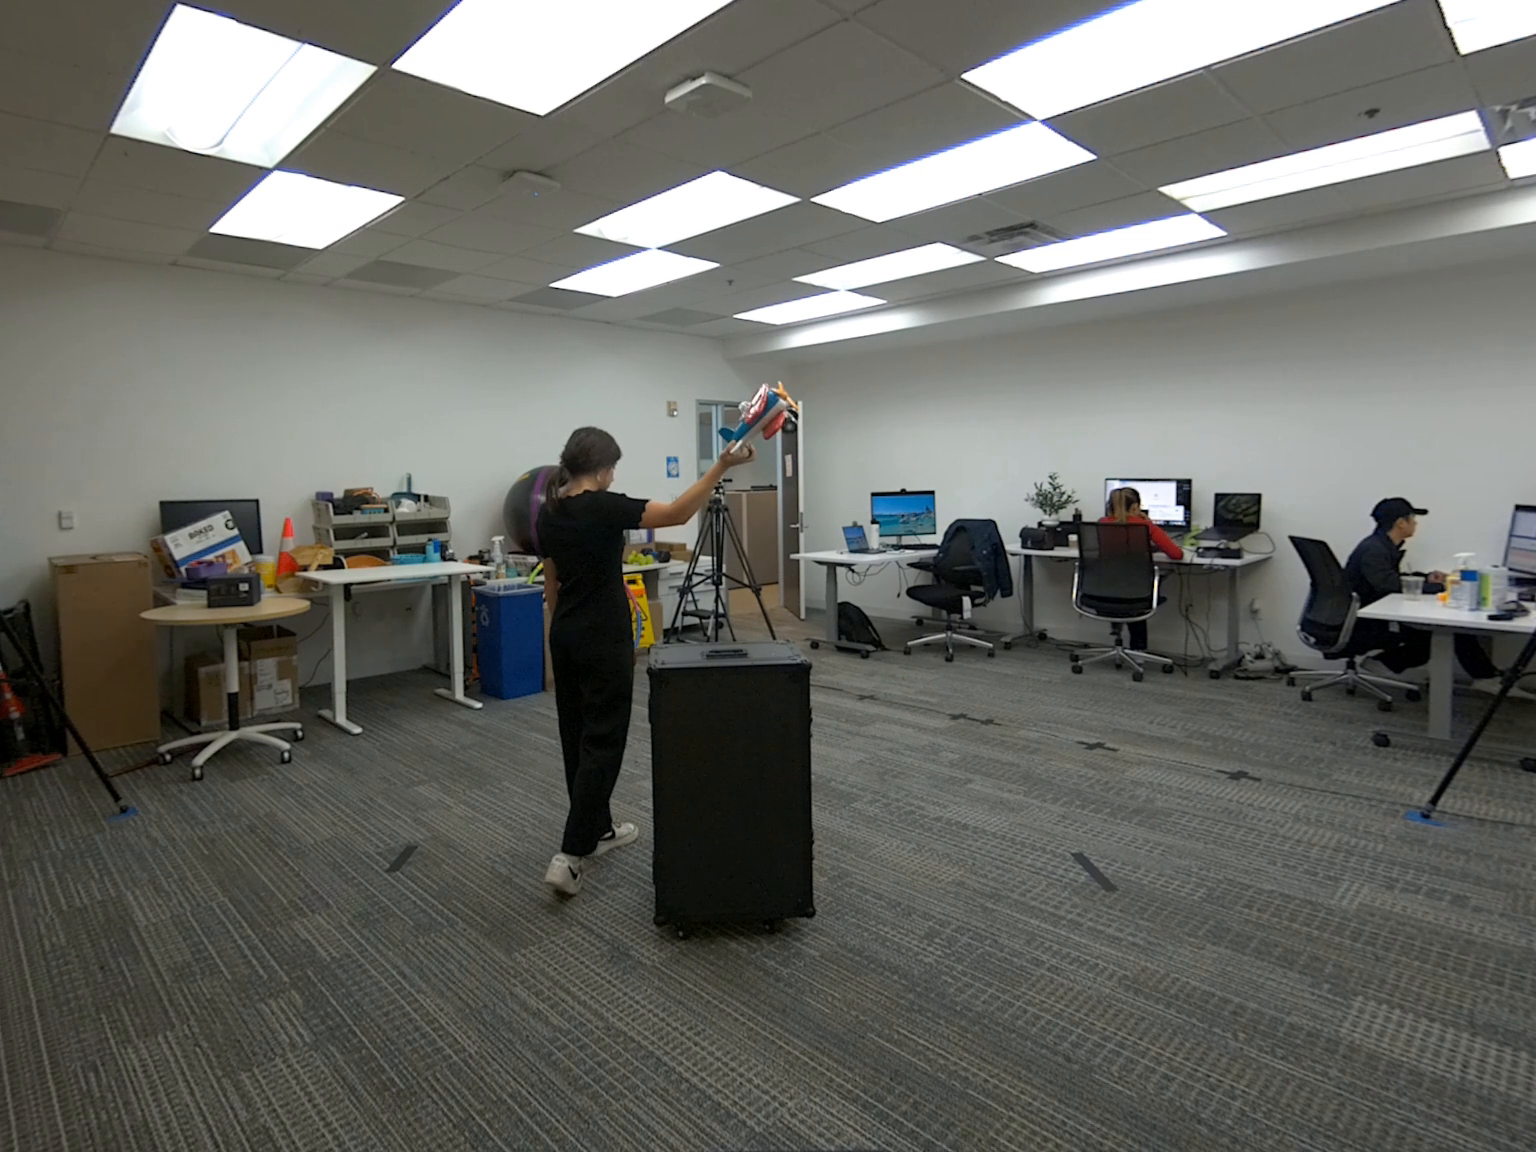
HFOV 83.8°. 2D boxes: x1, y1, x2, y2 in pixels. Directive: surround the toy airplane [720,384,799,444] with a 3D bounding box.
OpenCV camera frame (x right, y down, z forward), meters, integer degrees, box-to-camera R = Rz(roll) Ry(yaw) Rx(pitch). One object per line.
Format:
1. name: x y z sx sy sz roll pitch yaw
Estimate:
1. toy airplane: -0.022 -0.490 2.749 0.259 0.152 0.258 -39 22 -6
